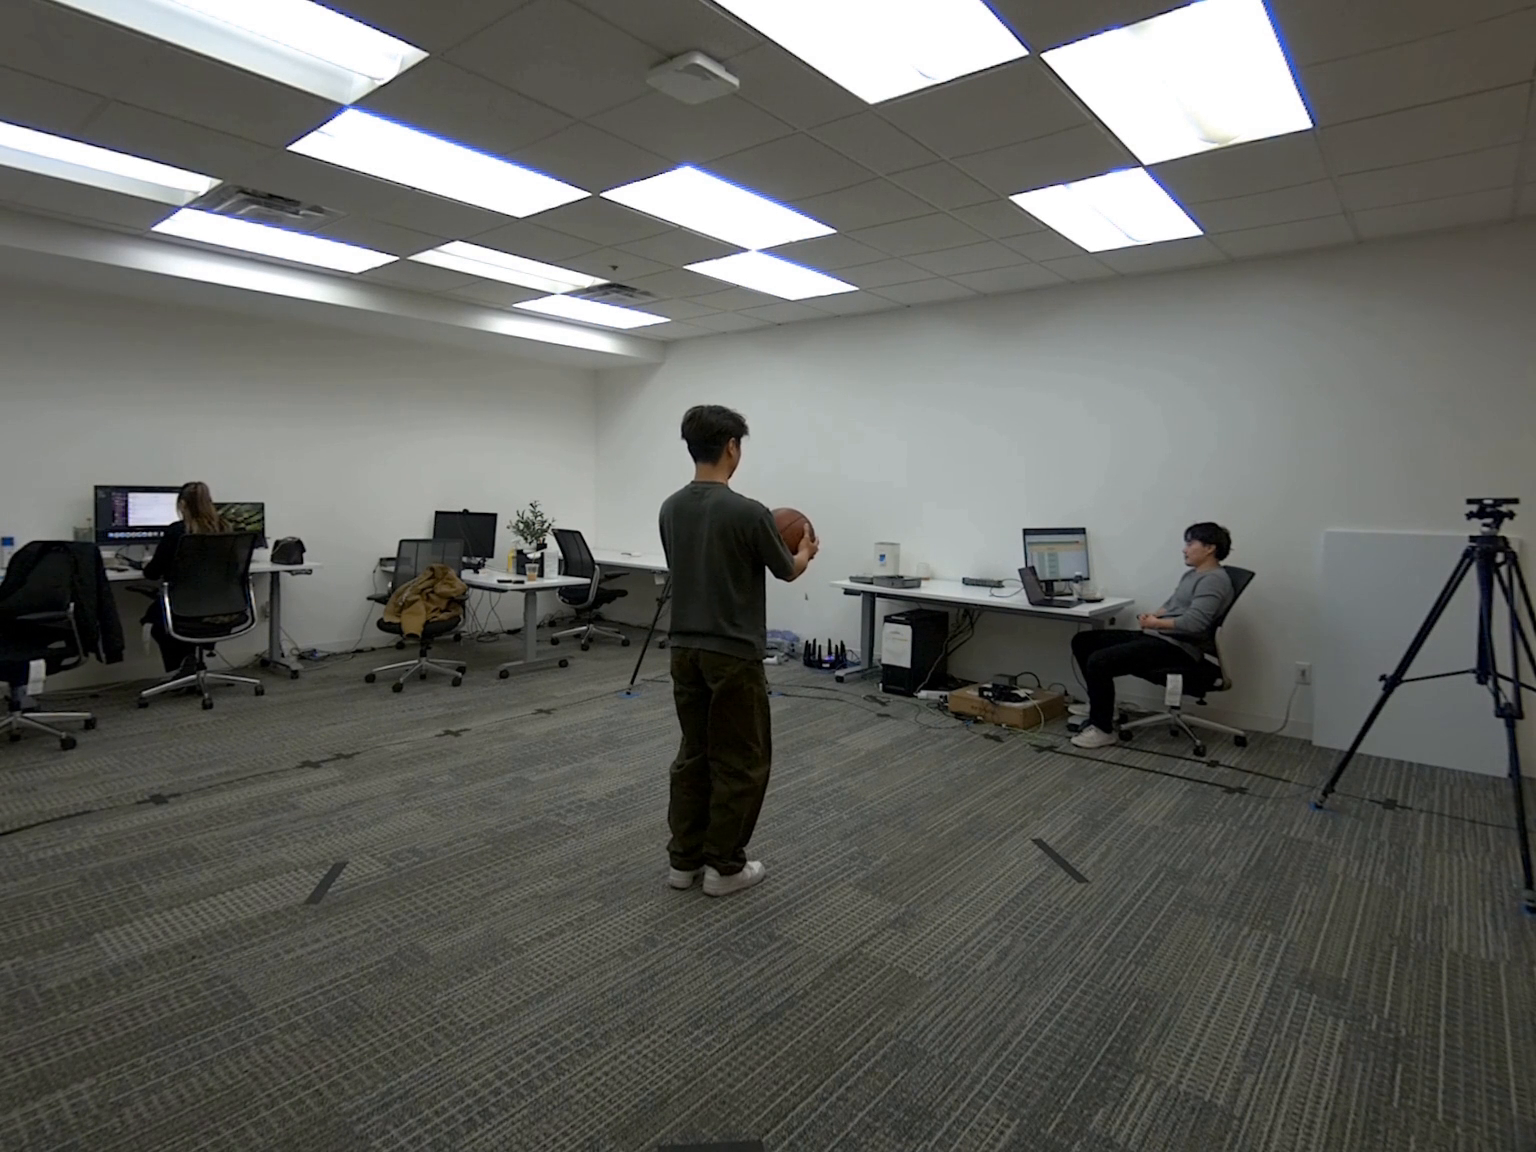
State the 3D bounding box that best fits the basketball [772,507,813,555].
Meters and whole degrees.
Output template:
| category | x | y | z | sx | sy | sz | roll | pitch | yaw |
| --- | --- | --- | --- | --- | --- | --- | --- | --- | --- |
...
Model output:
| category | x | y | z | sx | sy | sz | roll | pitch | yaw |
| --- | --- | --- | --- | --- | --- | --- | --- | --- | --- |
| basketball | 0.054 | -0.145 | 3.292 | 0.235 | 0.235 | 0.237 | 1 | 4 | -2 |
